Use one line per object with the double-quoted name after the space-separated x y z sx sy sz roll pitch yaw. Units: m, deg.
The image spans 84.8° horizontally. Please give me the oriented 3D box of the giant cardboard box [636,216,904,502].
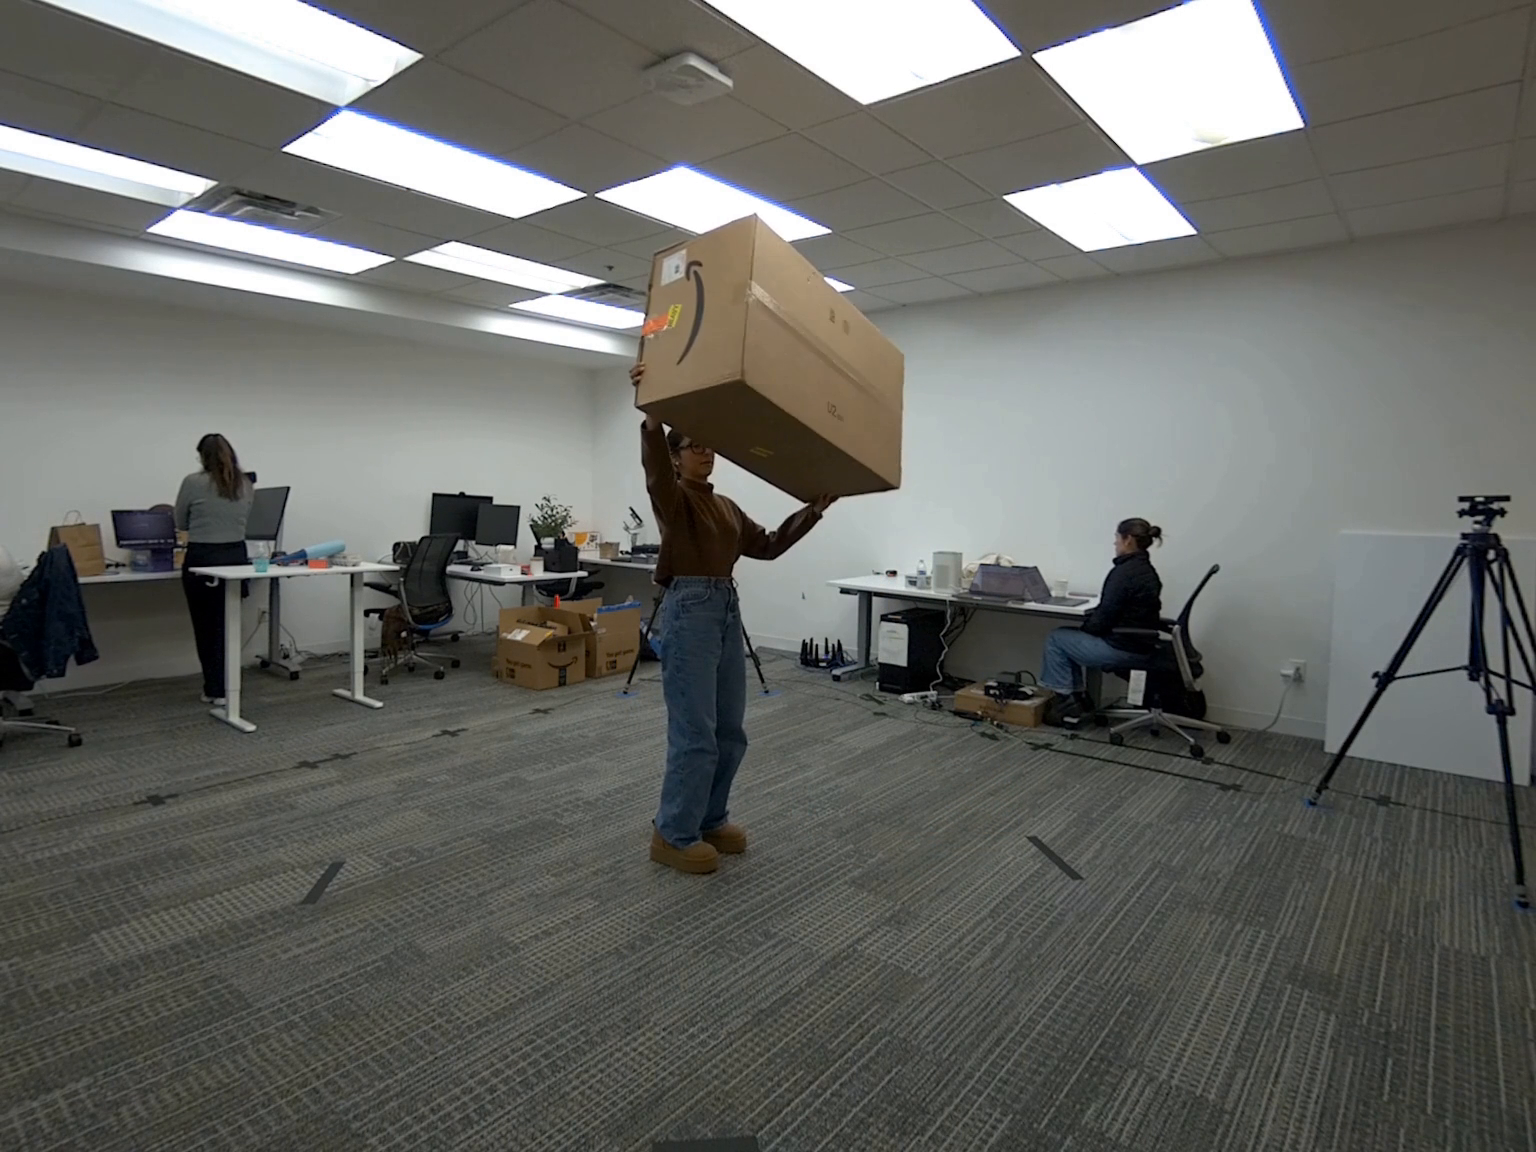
0.048 -0.687 3.015 0.438 0.585 0.985 -7 -19 36 "giant cardboard box"
